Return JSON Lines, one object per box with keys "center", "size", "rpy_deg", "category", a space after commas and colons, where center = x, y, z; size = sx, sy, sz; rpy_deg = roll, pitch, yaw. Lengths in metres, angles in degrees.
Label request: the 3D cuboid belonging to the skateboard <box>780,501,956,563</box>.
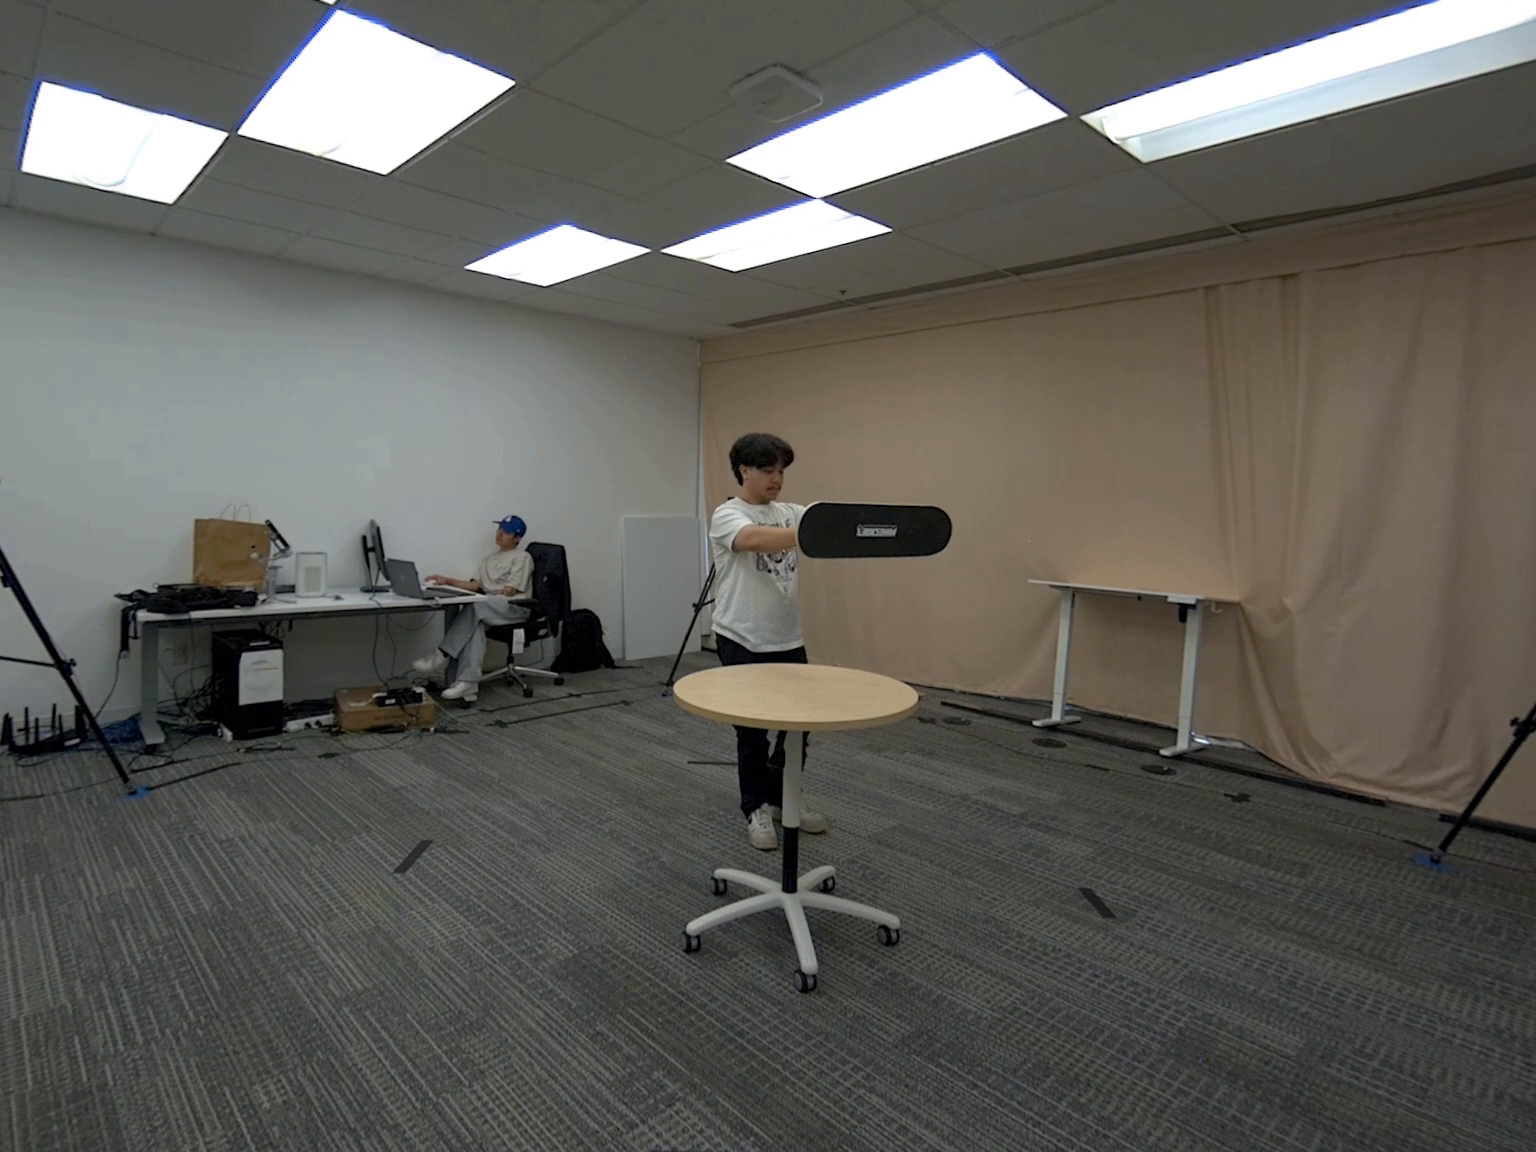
{"center": [0.365, -0.157, 2.998], "size": [0.768, 0.193, 0.113], "rpy_deg": [-2, 6, -39], "category": "skateboard"}
